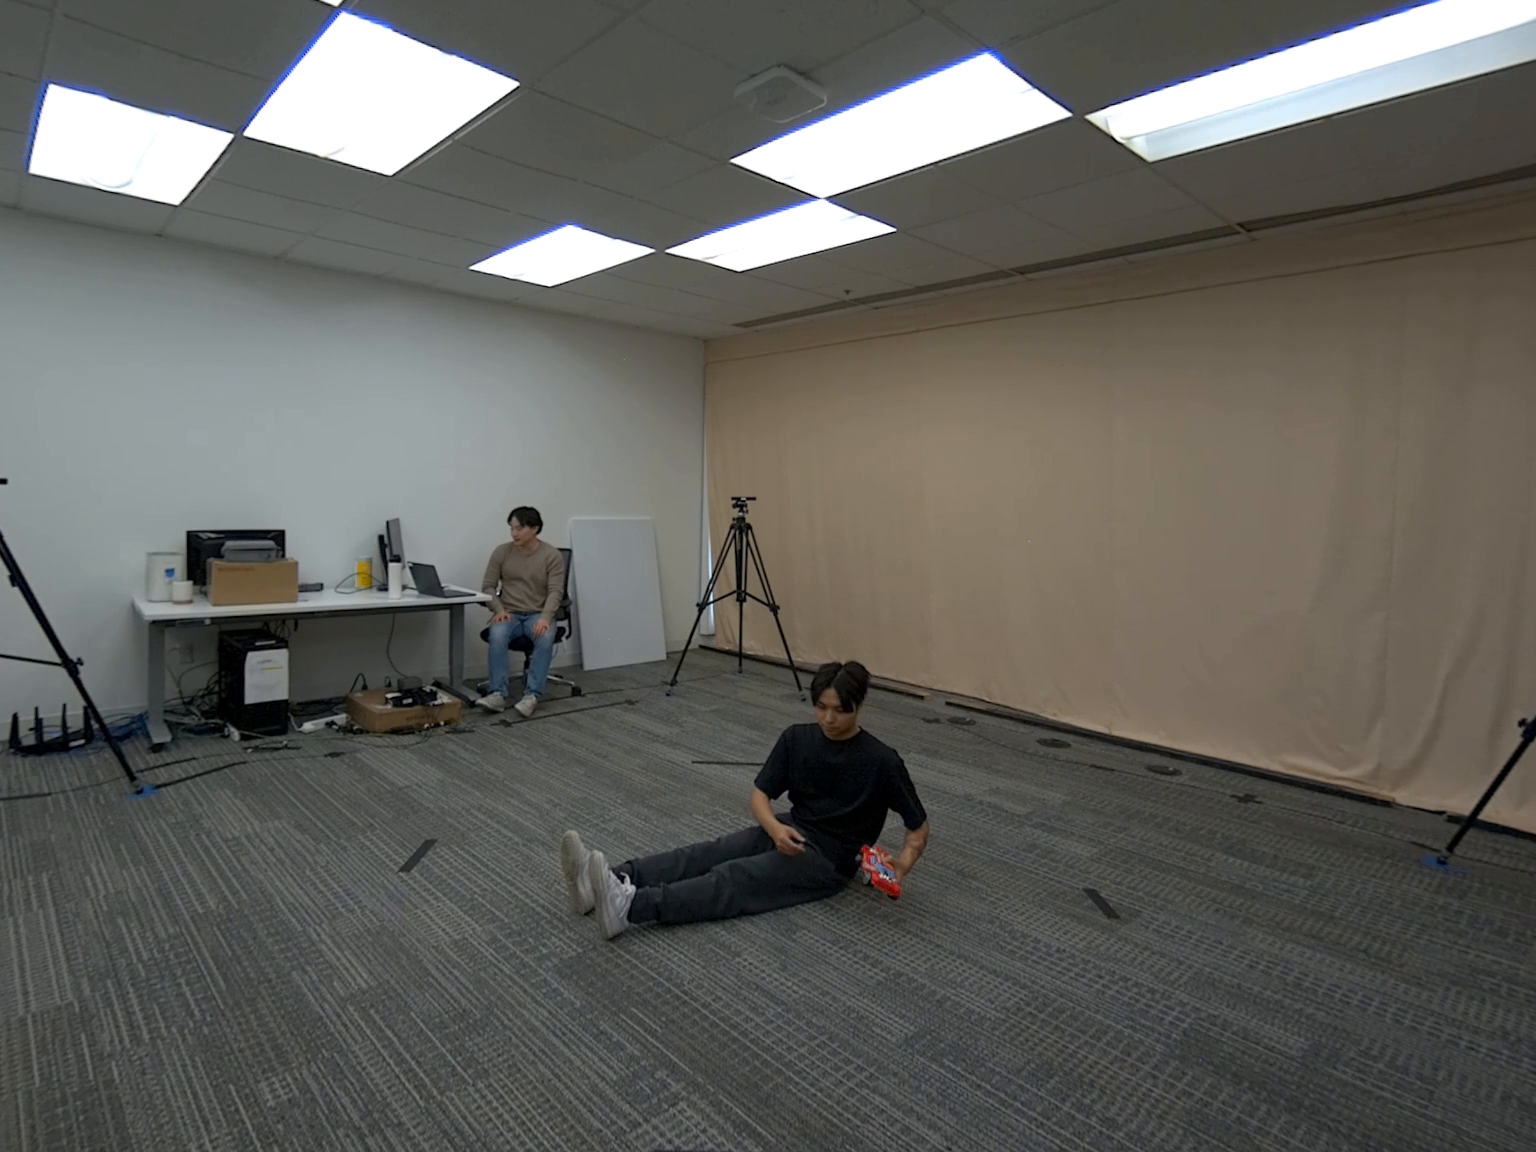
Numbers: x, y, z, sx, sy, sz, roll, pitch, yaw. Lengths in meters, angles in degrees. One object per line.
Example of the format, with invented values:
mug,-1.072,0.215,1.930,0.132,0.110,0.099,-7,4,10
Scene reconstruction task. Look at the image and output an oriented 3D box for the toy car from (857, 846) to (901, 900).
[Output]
toy car,0.359,0.972,2.764,0.130,0.083,0.256,29,13,-6
